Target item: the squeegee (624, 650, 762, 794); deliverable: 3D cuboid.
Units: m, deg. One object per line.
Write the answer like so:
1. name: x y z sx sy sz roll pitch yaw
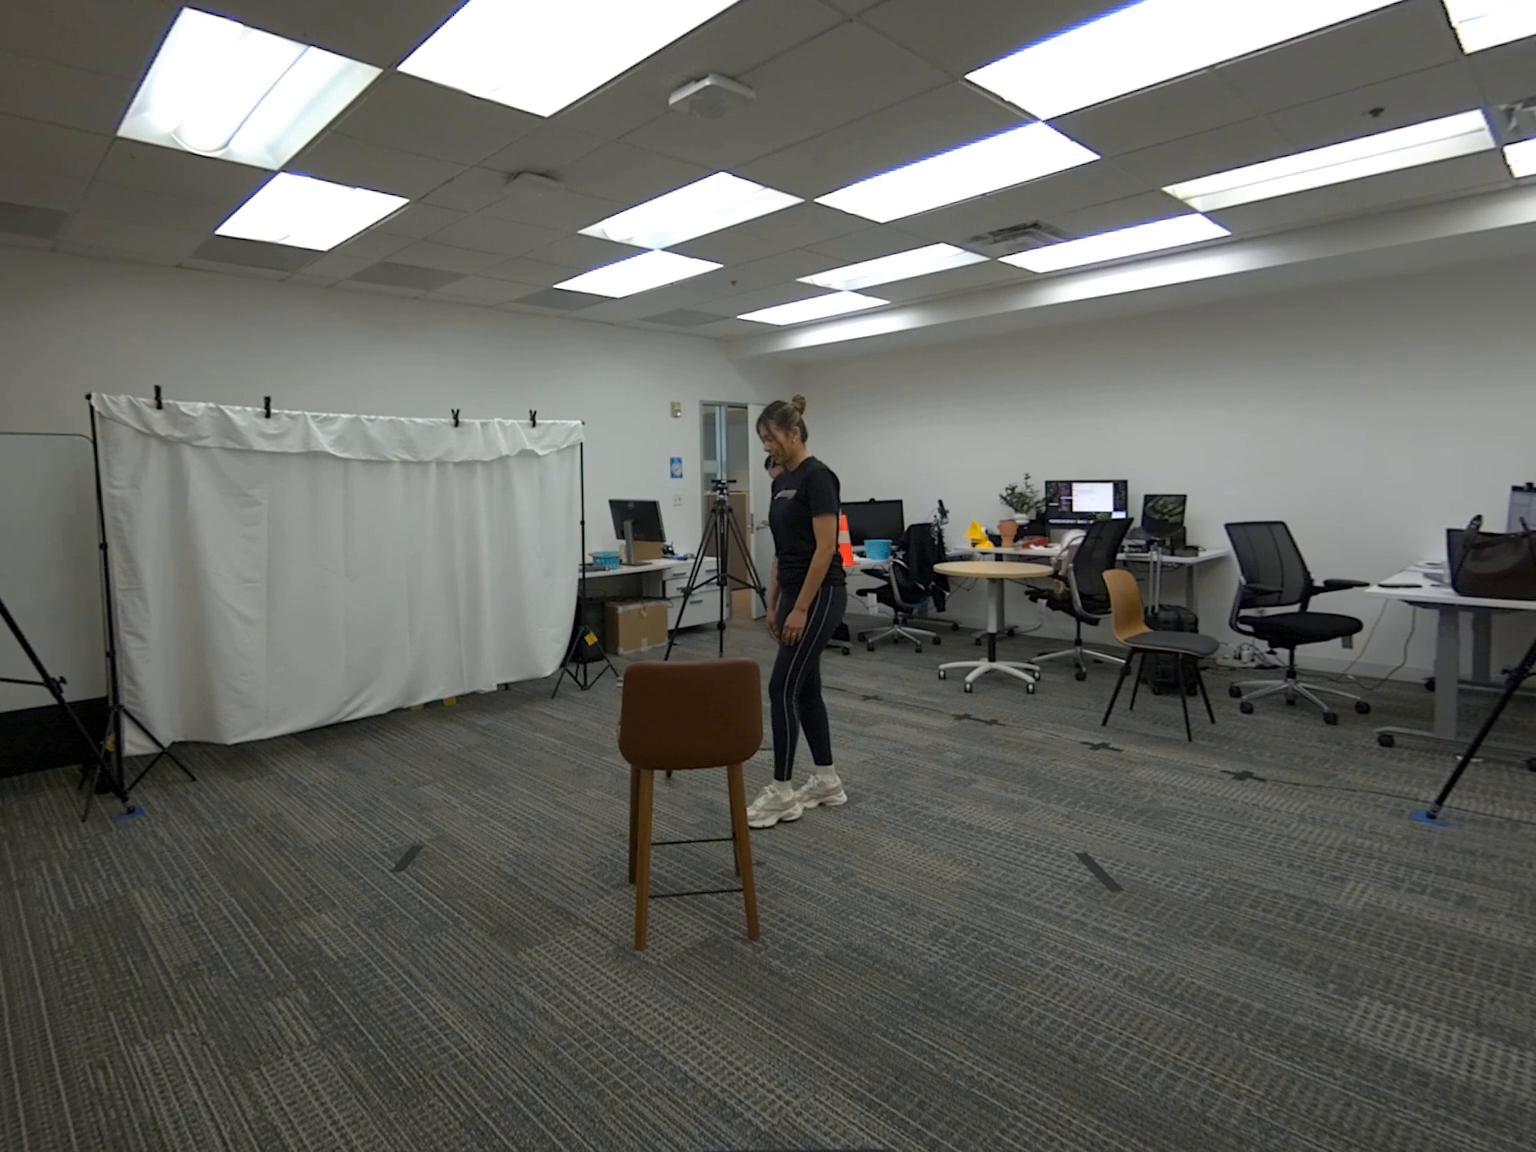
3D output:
1. squeegee: -0.353 0.629 3.379 0.438 0.053 1.516 21 -25 0
